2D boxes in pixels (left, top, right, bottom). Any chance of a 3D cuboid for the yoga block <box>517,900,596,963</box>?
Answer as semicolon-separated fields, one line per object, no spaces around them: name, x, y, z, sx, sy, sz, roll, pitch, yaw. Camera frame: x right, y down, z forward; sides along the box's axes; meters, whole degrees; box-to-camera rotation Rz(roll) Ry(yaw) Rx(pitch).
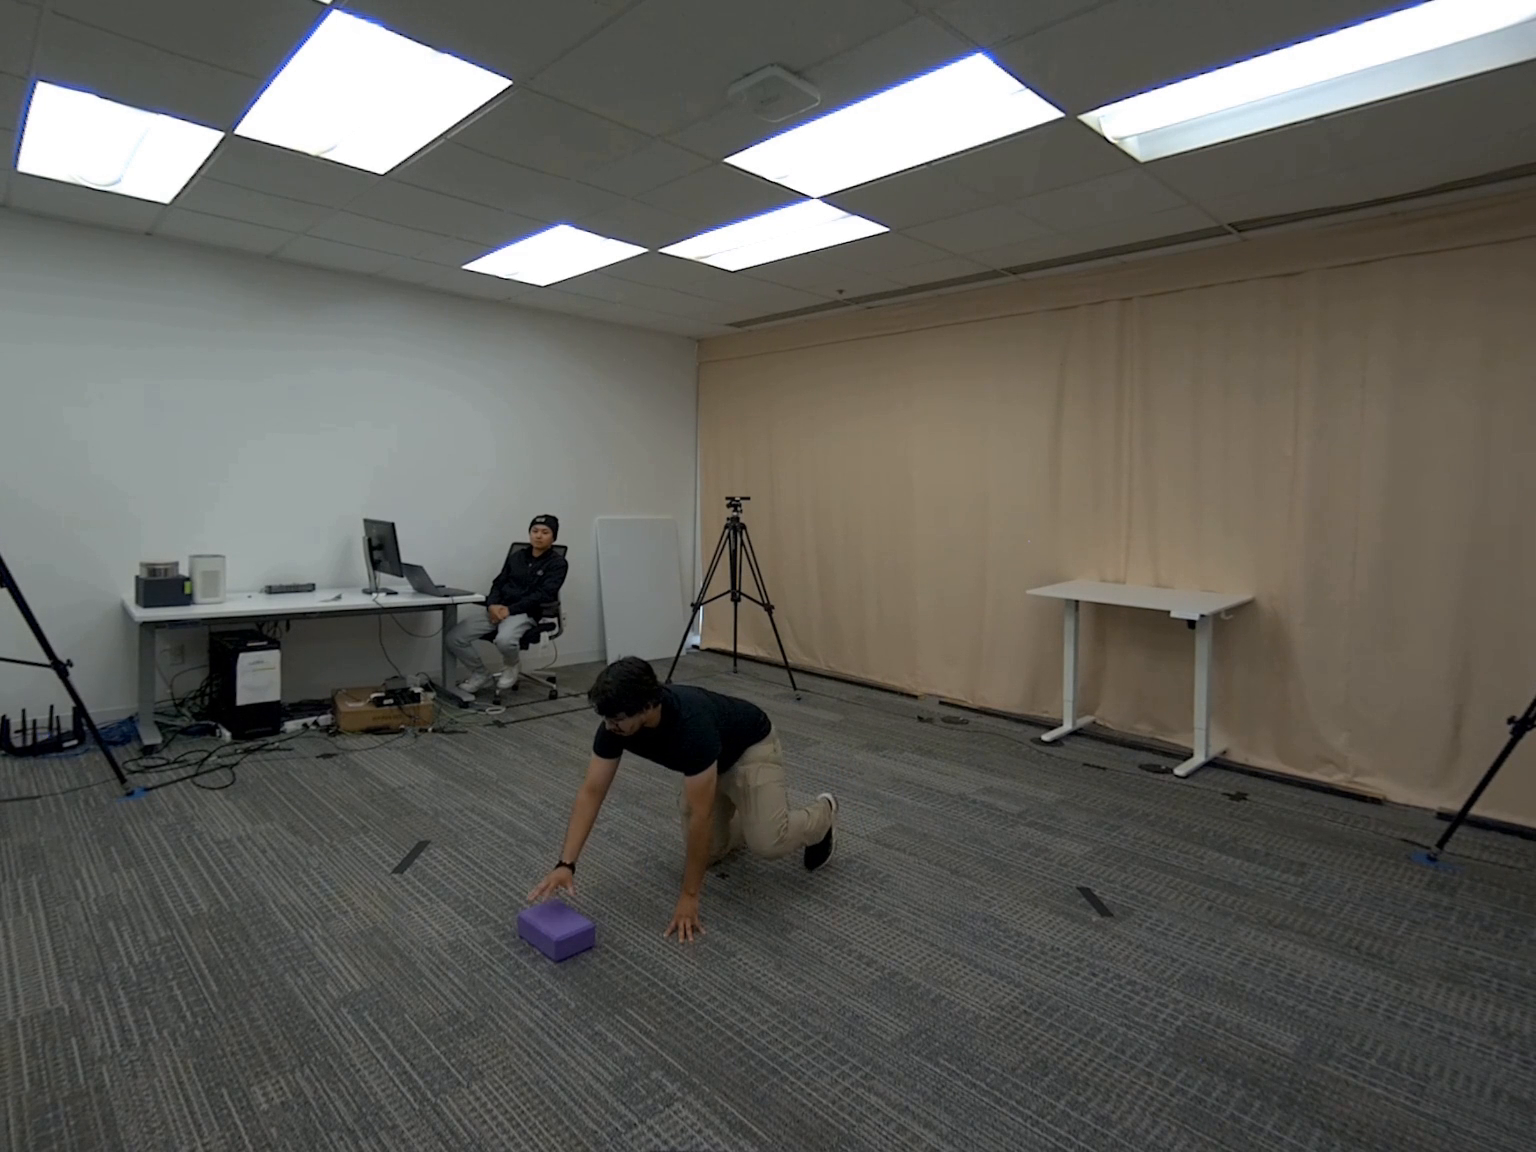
yoga block;-0.664;1.099;2.621;0.235;0.076;0.146;6;8;44
